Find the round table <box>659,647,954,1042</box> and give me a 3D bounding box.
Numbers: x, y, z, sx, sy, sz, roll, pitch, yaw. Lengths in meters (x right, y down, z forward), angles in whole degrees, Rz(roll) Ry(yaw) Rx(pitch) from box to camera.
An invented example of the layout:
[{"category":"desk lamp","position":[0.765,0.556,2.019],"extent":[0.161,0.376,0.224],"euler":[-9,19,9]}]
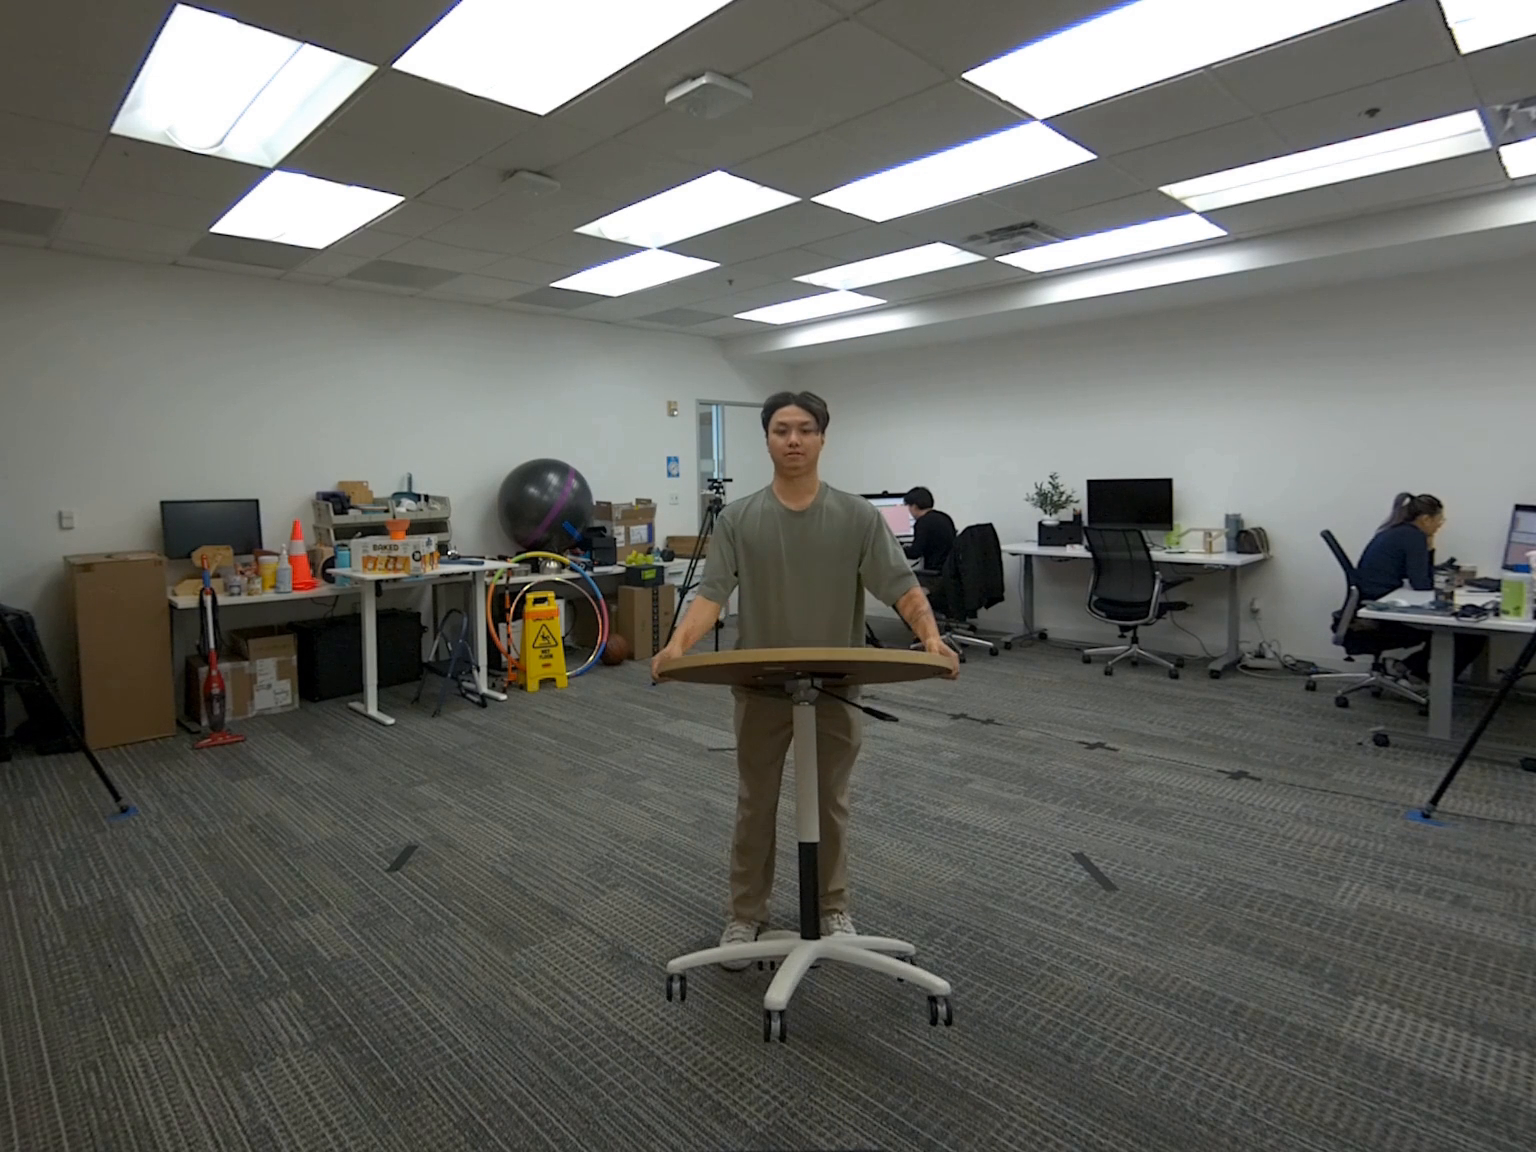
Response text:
[{"category":"round table","position":[0.089,0.634,2.148],"extent":[0.784,0.797,0.776],"euler":[0,-13,-2]}]
